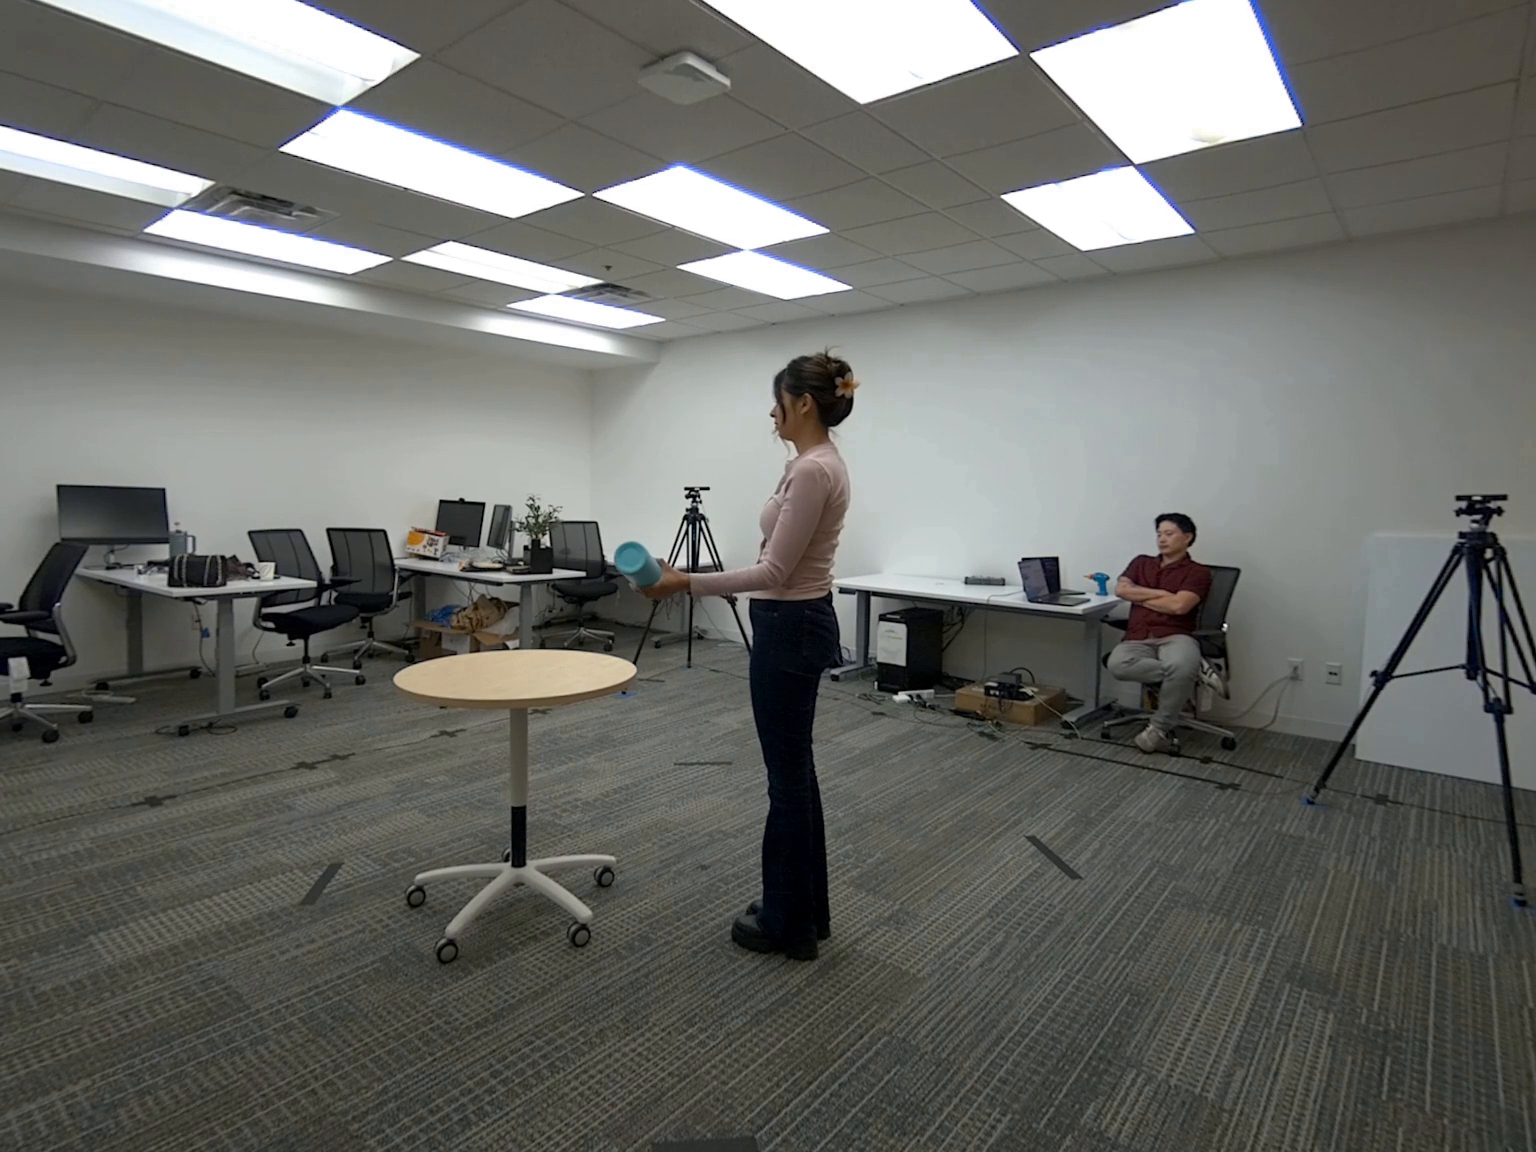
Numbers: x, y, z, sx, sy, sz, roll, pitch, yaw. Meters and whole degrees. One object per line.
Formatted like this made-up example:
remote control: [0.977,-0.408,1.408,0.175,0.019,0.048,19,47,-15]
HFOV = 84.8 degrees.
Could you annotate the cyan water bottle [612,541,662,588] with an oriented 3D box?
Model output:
cyan water bottle: [-0.352,-0.015,2.307,0.092,0.093,0.278,1,-14,1]
